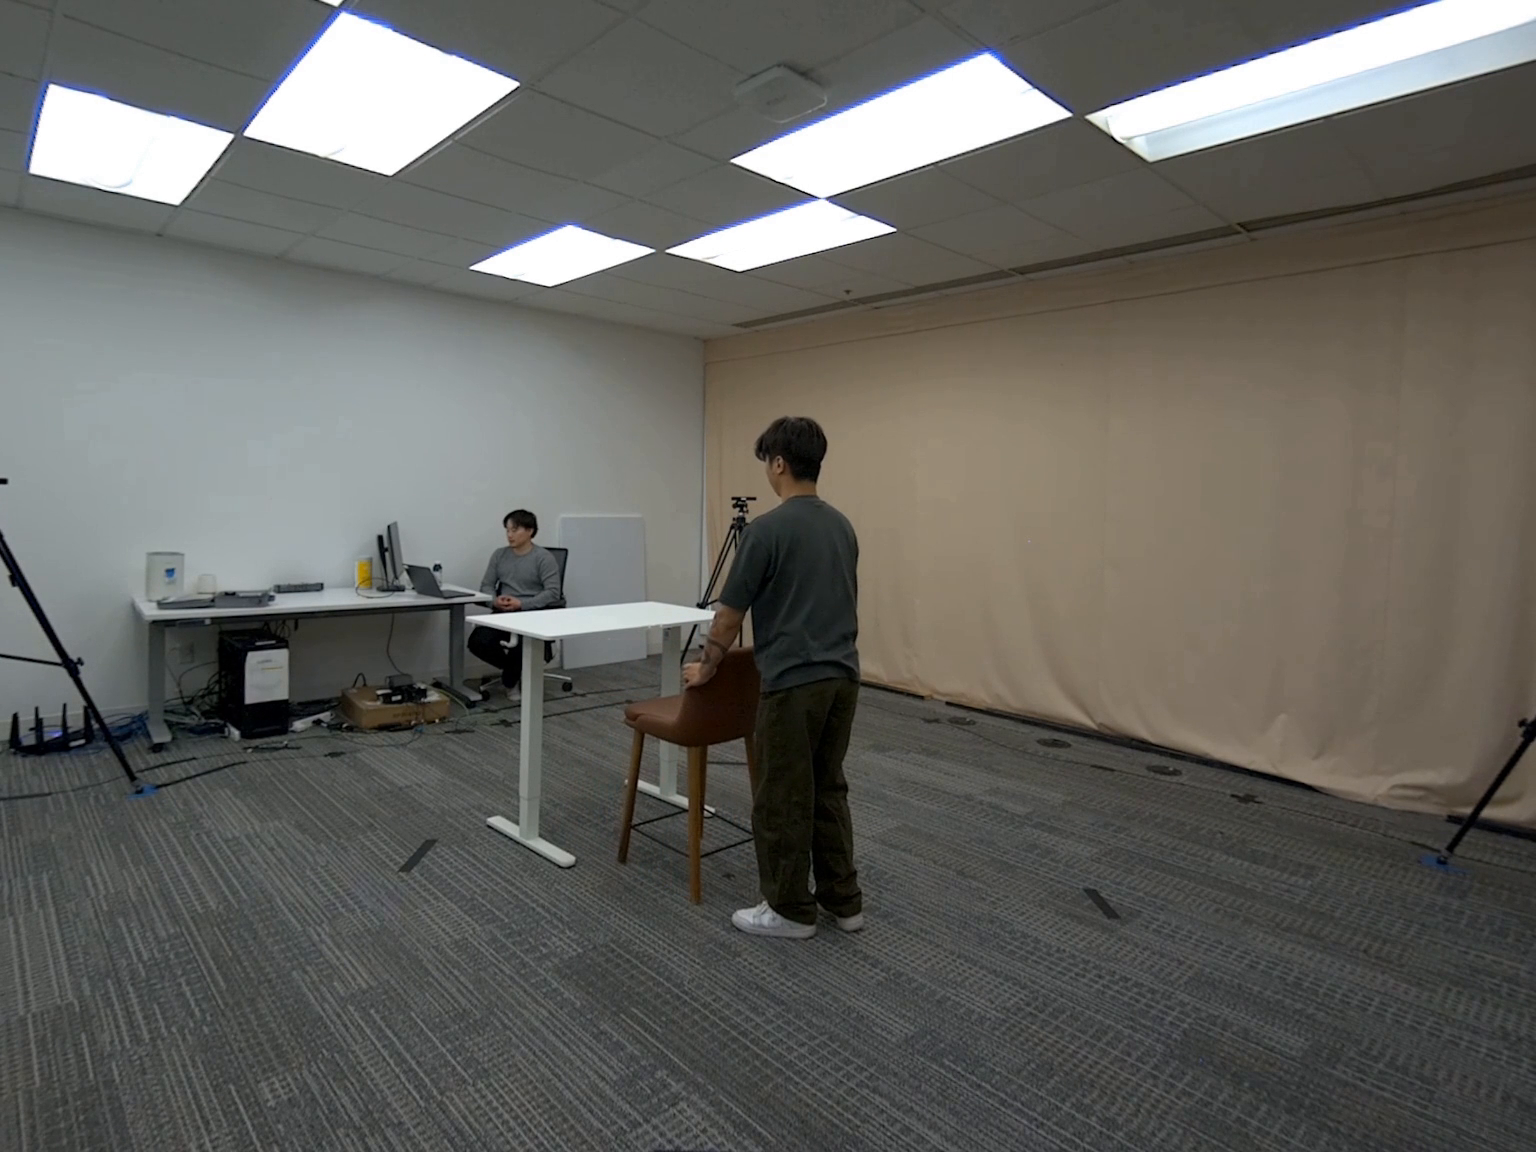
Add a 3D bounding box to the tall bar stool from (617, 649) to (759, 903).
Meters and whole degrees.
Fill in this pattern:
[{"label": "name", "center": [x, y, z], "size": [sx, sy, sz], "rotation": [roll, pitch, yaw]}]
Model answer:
[{"label": "tall bar stool", "center": [-0.258, 0.661, 3.129], "size": [0.446, 0.887, 0.480], "rotation": [-1, 7, -43]}]
